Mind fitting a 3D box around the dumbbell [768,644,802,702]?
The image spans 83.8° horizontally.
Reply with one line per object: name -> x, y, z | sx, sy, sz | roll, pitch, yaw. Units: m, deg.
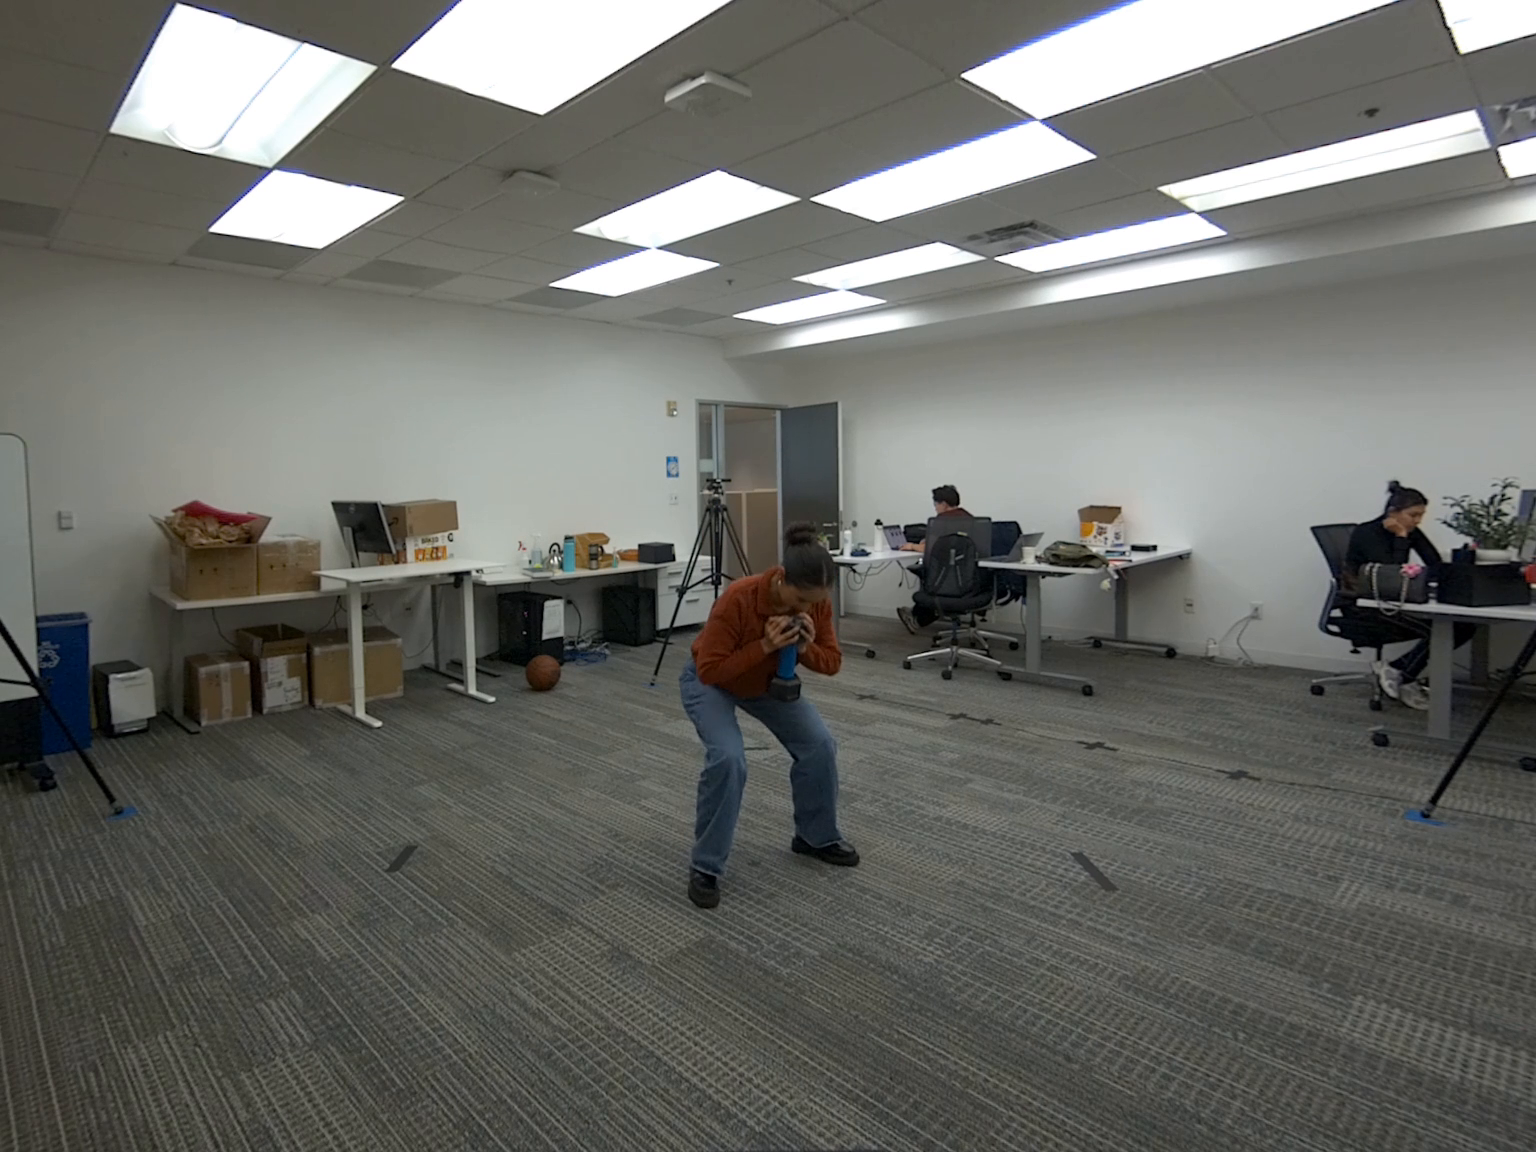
dumbbell -> 0.051, 0.273, 2.890 | 0.120, 0.290, 0.112 | -9, 18, -38
